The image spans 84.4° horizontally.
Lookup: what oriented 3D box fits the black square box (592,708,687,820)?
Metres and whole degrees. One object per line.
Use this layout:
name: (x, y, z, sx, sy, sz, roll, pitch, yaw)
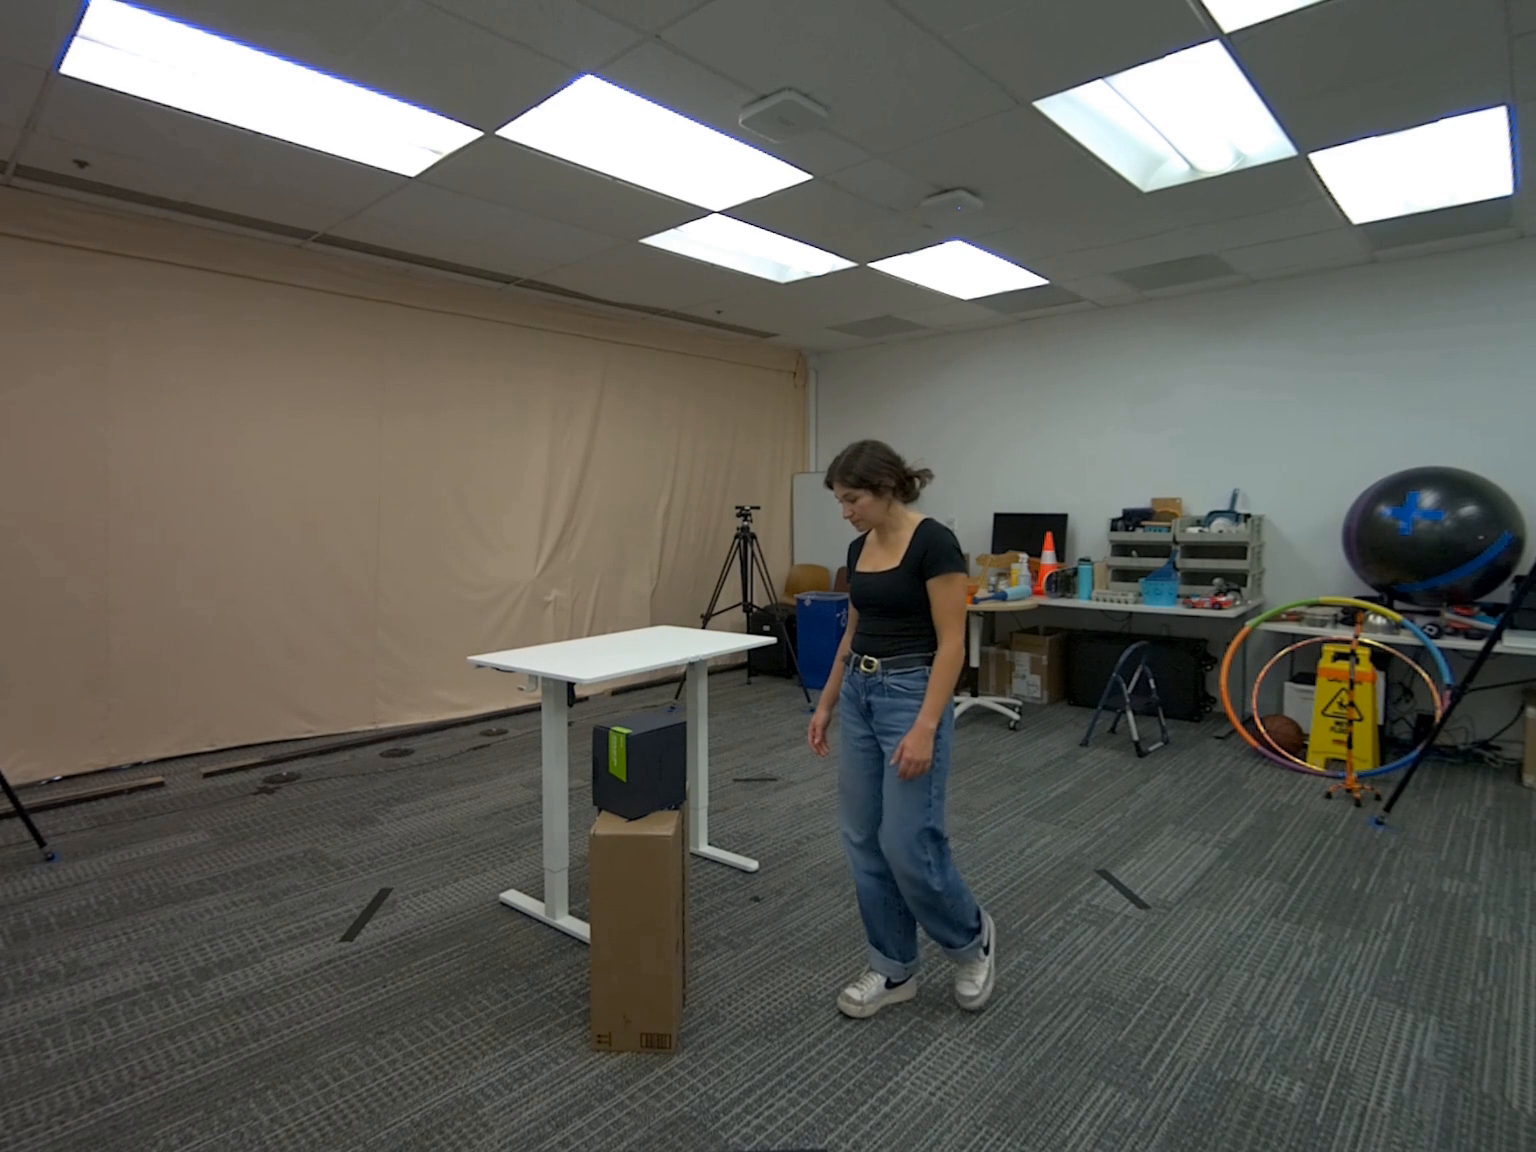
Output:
black square box: (-0.351, 0.519, 2.350, 0.161, 0.227, 0.210, 1, 3, 41)
